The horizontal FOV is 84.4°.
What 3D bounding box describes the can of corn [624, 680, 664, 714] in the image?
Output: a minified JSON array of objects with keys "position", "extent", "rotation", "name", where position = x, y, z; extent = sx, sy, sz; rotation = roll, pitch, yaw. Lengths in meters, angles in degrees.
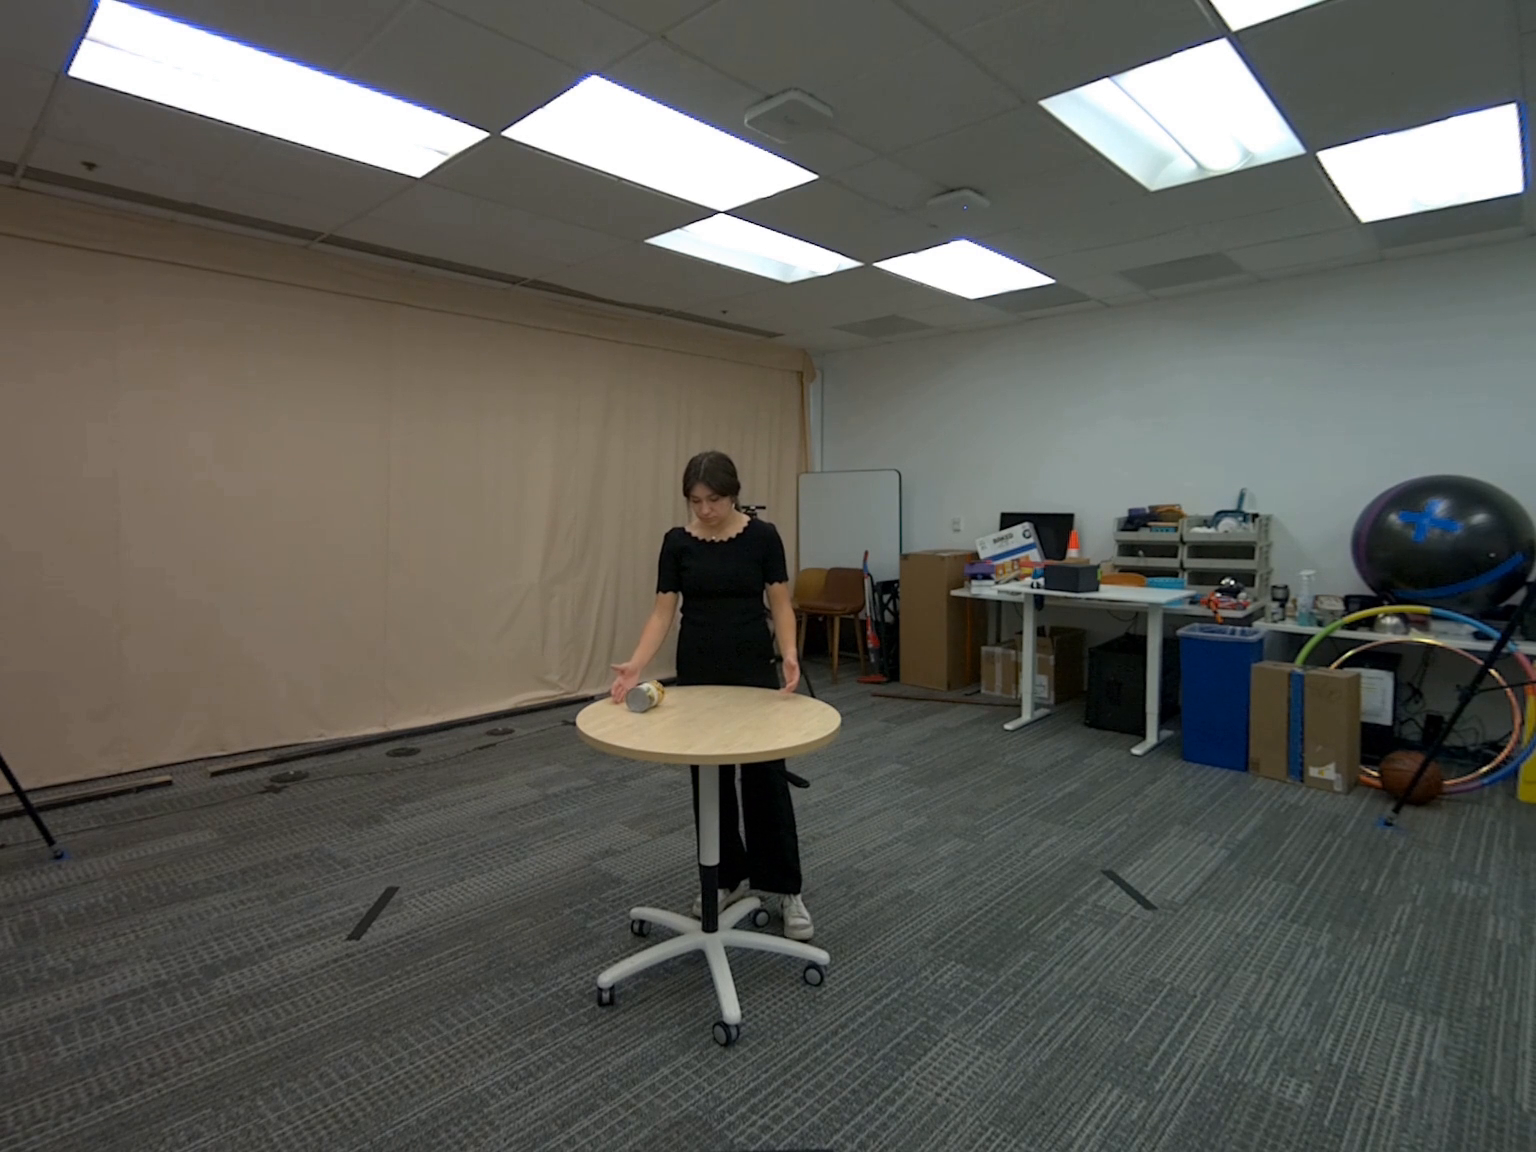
[{"position":[-0.370,0.359,2.525],"extent":[0.076,0.074,0.109],"rotation":[1,5,19],"name":"can of corn"}]
